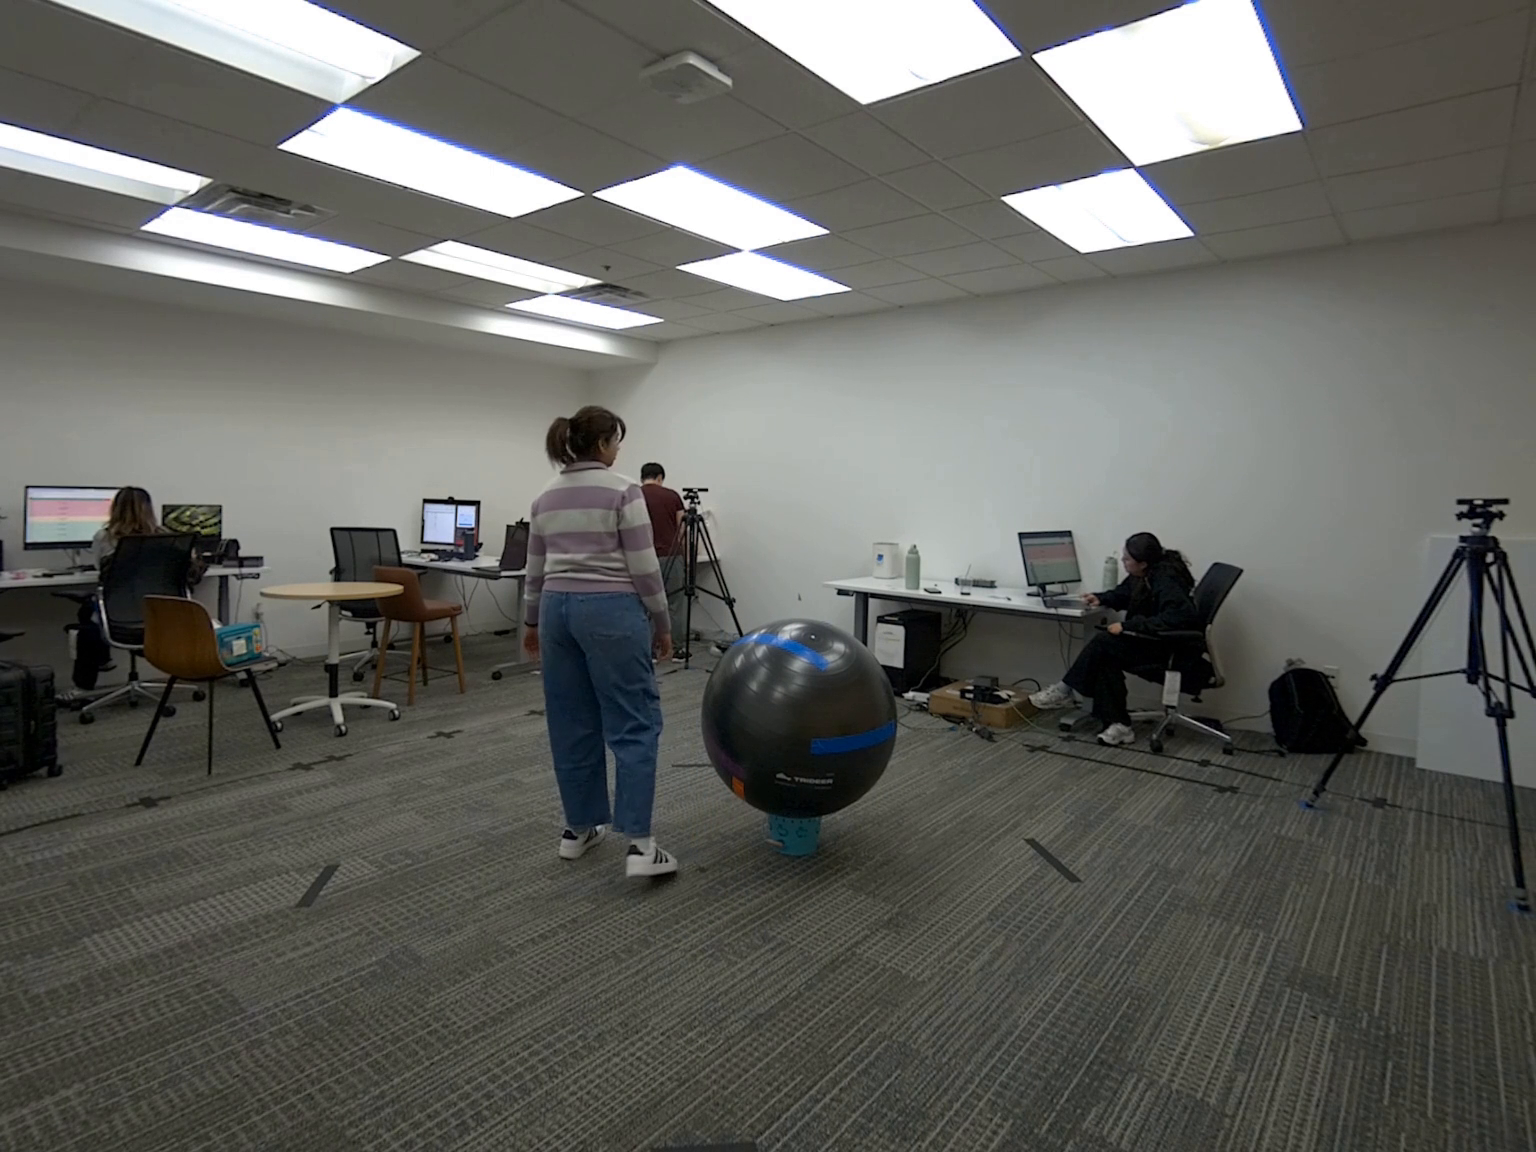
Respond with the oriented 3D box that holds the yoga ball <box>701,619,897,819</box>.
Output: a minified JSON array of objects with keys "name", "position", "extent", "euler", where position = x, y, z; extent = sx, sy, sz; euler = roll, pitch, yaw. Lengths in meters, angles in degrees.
[{"name":"yoga ball","position":[0.118,0.555,3.305],"extent":[0.757,0.755,0.762],"euler":[1,4,-2]}]
